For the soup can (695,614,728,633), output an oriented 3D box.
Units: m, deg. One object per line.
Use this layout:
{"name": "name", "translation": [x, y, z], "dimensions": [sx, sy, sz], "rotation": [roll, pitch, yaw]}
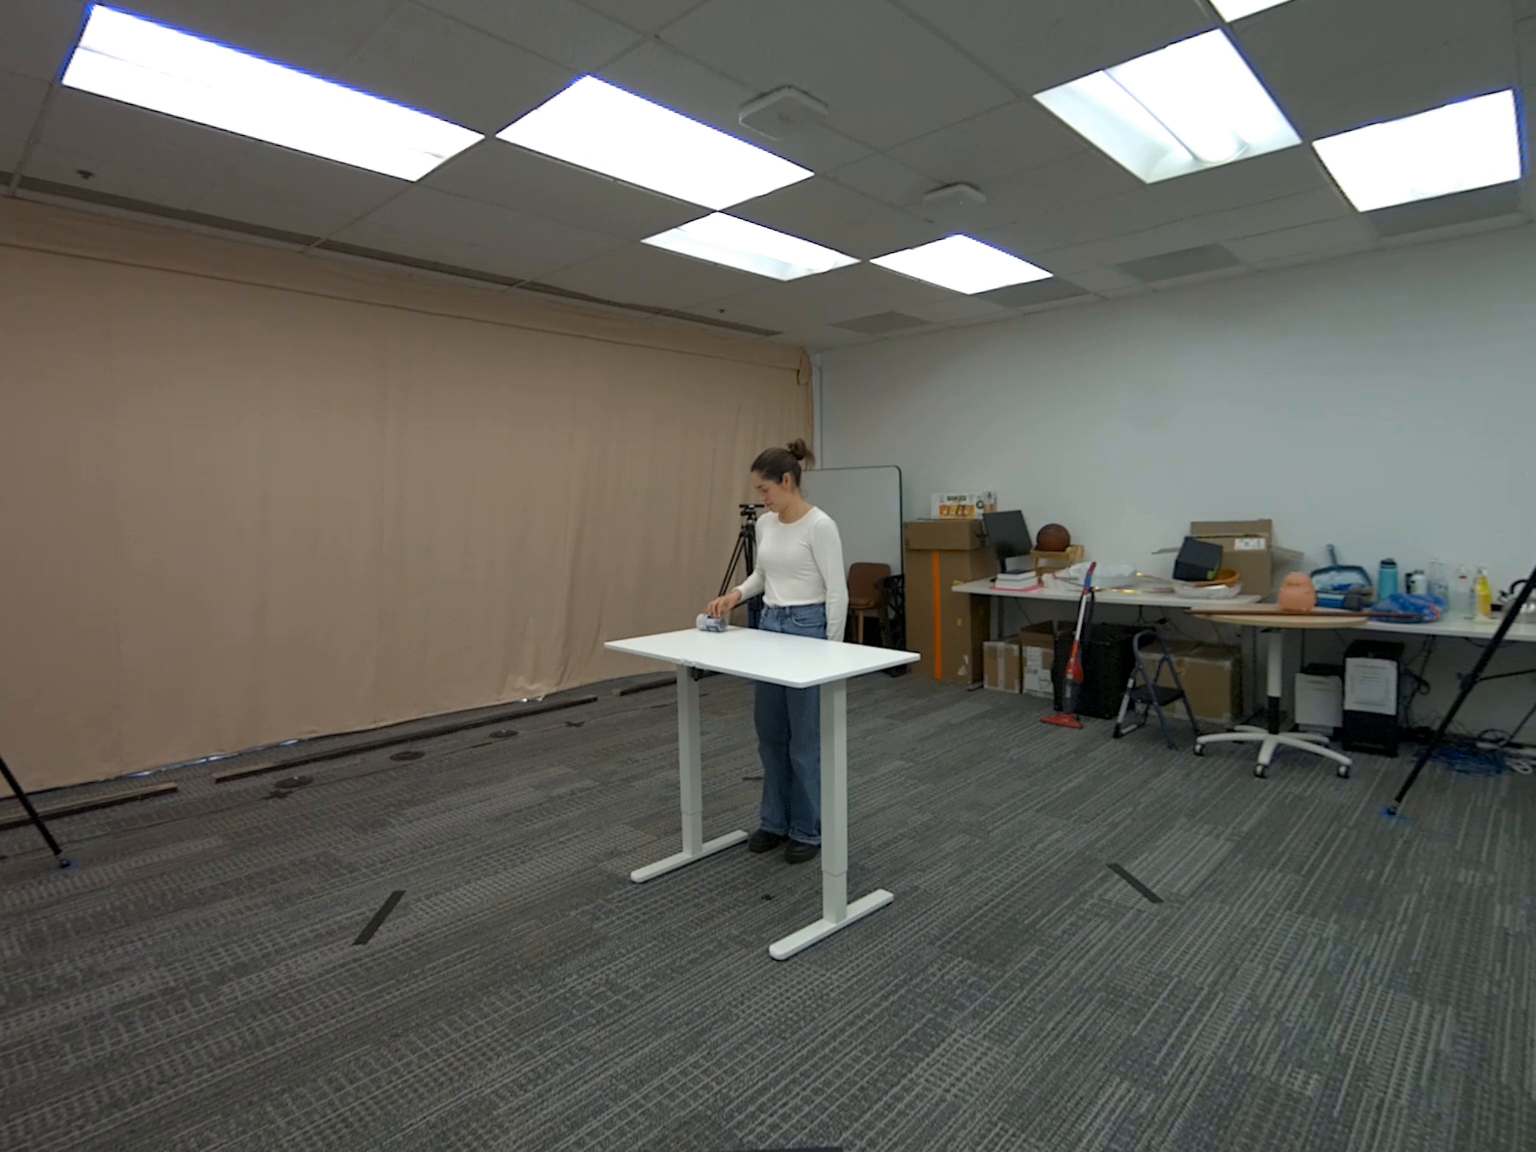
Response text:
{"name": "soup can", "translation": [-0.196, 0.194, 3.381], "dimensions": [0.122, 0.067, 0.067], "rotation": [-6, 4, 1]}
